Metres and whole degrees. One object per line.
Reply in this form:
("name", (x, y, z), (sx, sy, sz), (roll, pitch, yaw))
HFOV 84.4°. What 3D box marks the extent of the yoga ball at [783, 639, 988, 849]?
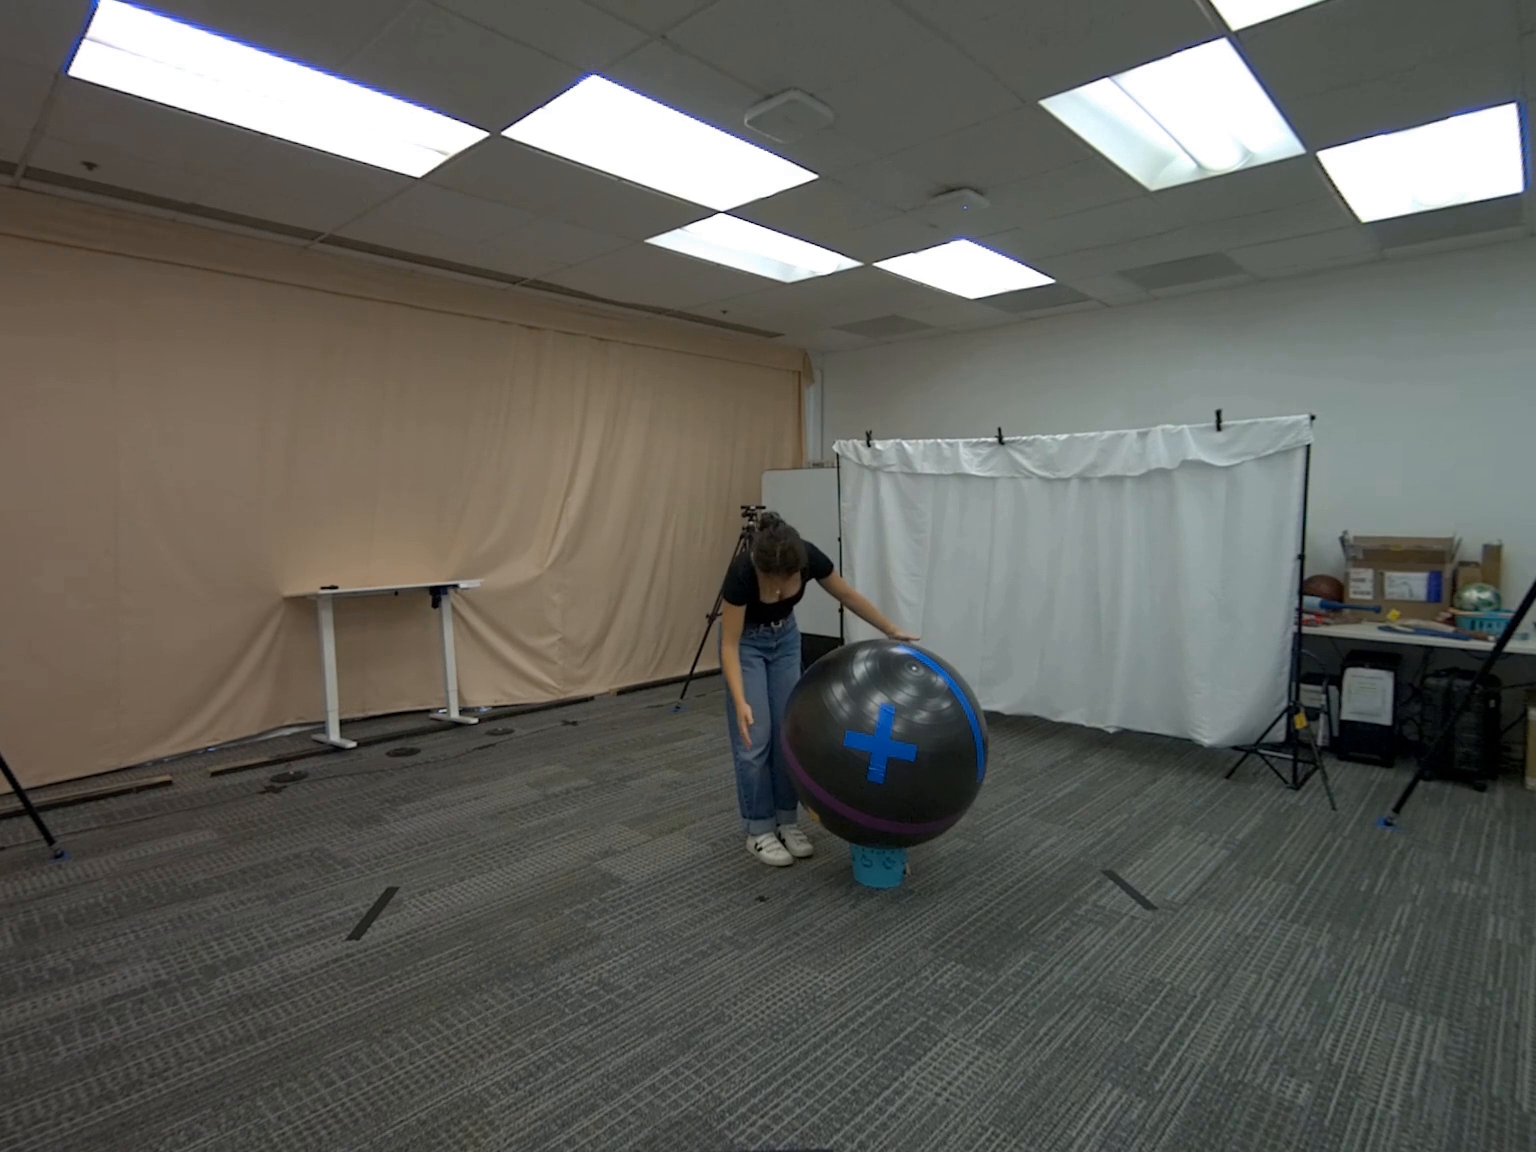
("yoga ball", (0.442, 0.618, 3.129), (0.757, 0.756, 0.760), (0, 4, -2))
